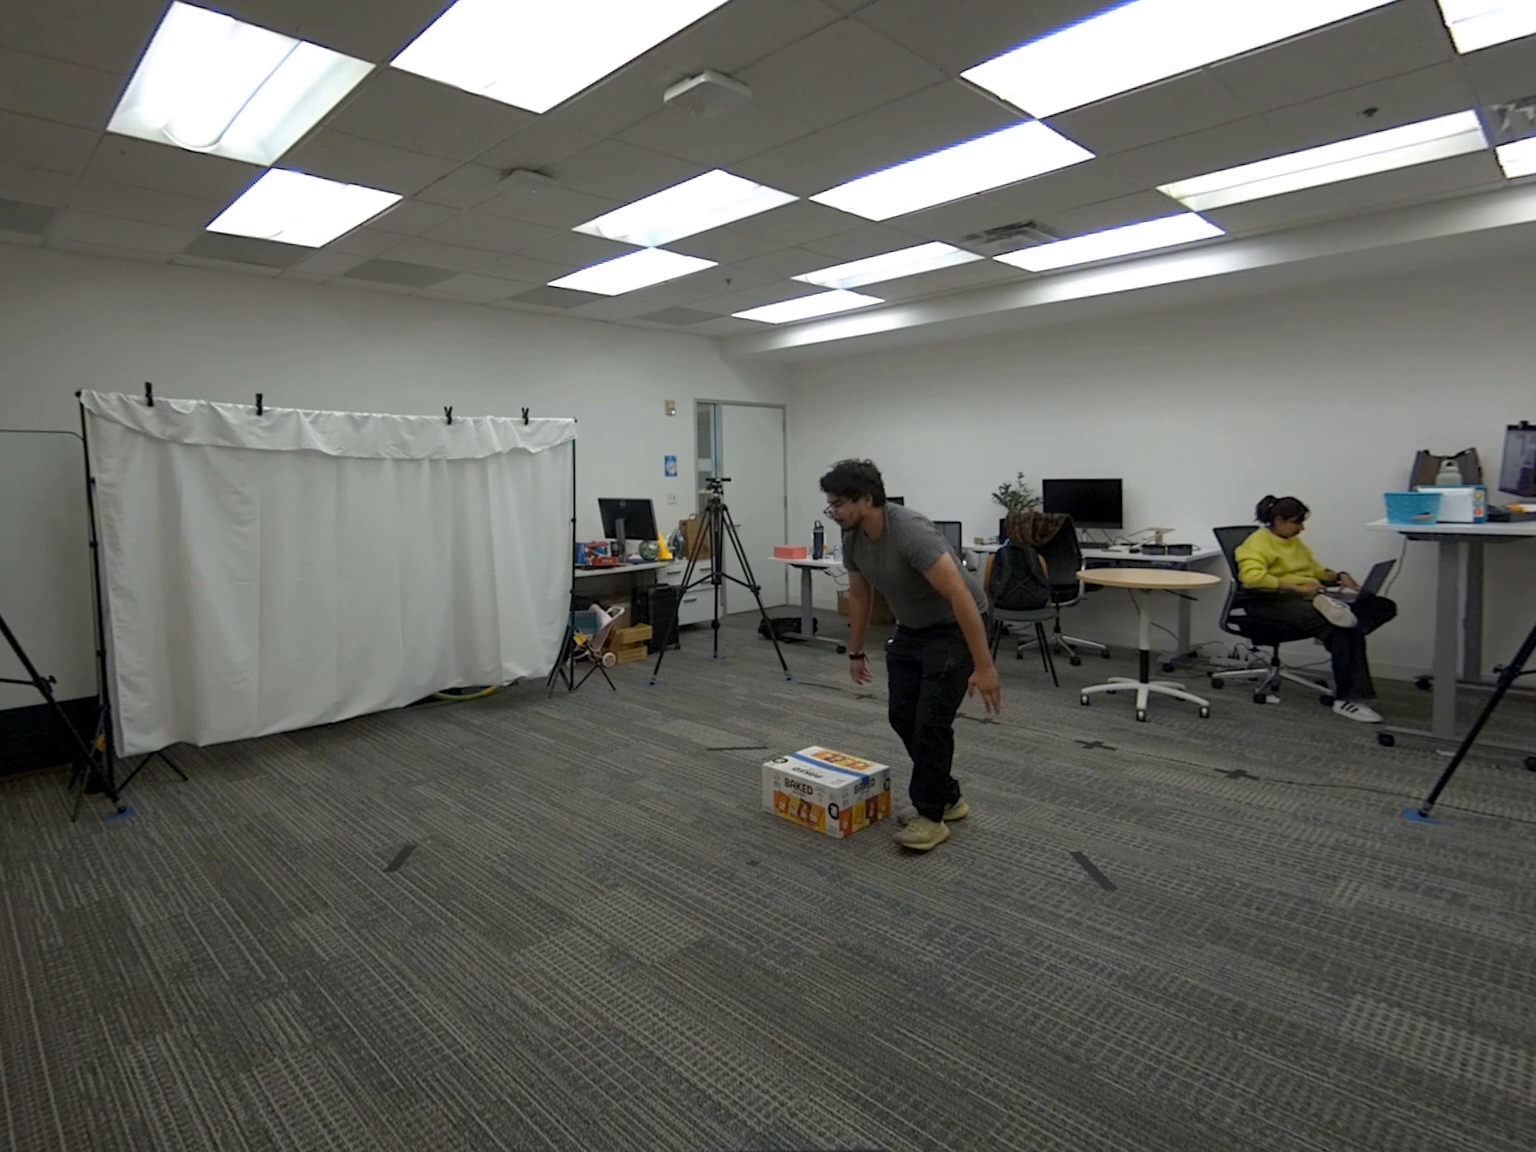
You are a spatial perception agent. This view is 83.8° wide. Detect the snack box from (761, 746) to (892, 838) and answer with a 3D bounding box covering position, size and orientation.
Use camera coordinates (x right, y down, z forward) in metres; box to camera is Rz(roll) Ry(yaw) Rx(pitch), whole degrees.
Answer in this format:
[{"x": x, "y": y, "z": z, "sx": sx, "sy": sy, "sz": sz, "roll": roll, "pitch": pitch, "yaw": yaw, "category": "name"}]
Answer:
[{"x": 0.241, "y": 0.888, "z": 3.546, "sx": 0.418, "sy": 0.205, "sz": 0.331, "roll": 5, "pitch": 8, "yaw": 44, "category": "snack box"}]
